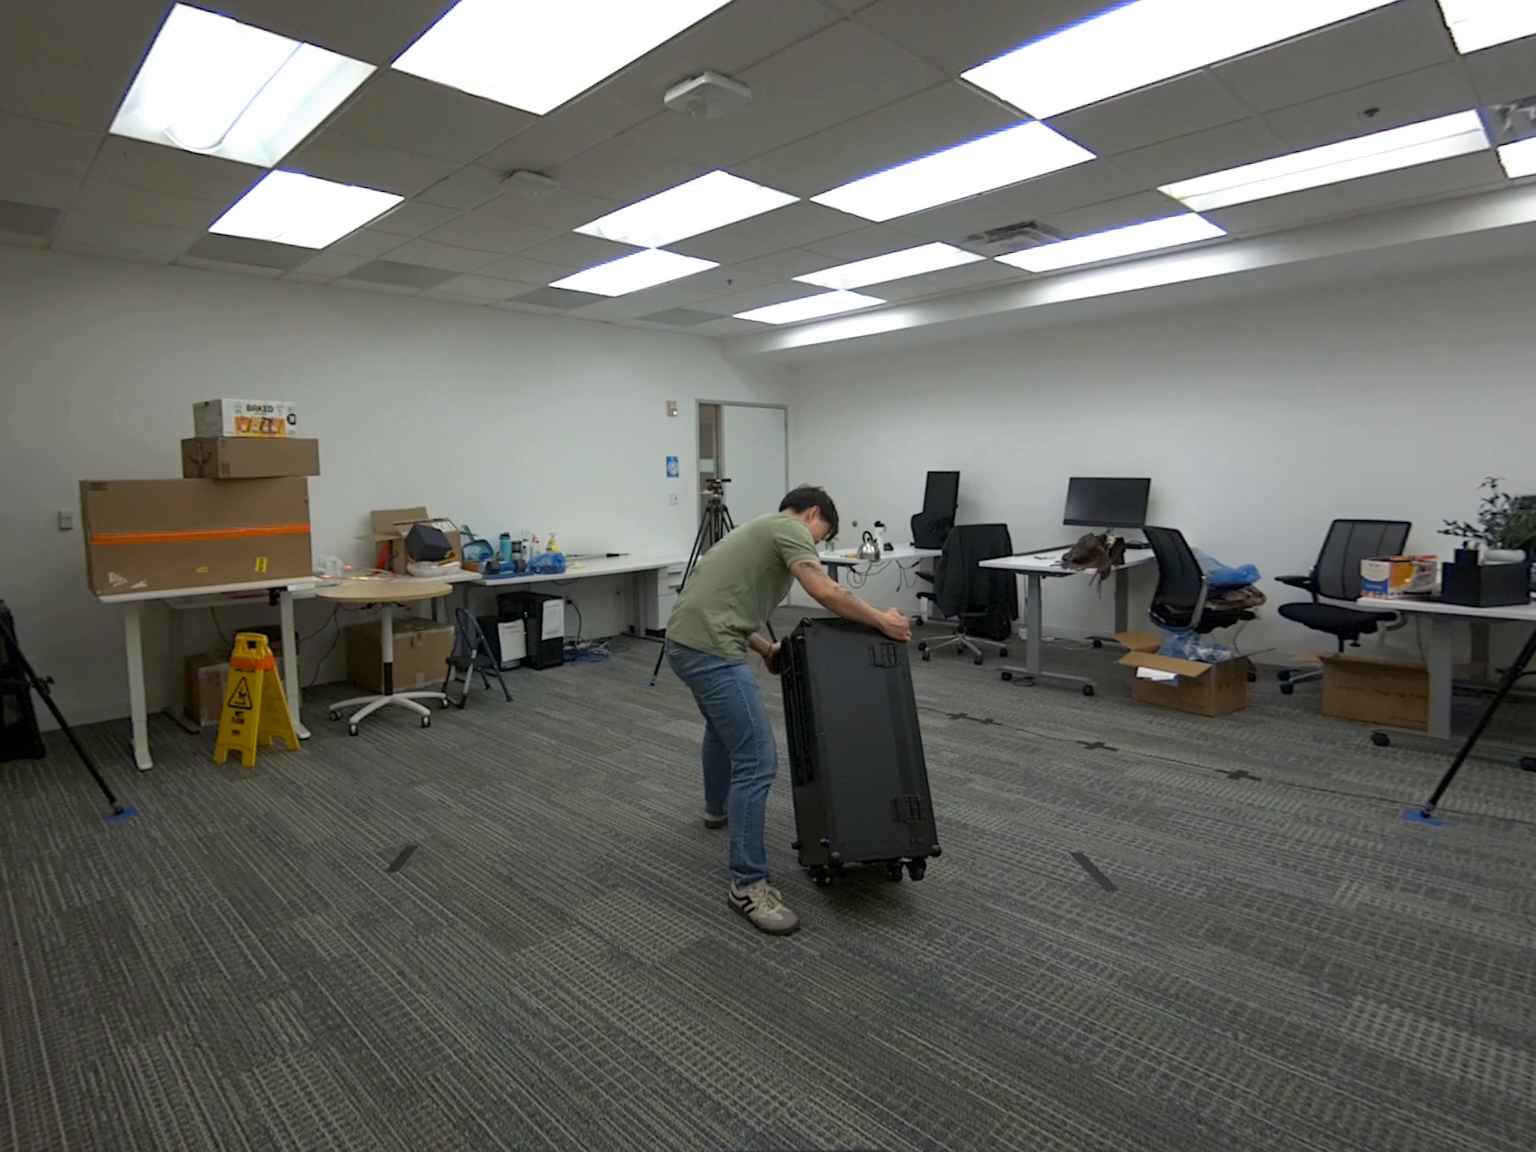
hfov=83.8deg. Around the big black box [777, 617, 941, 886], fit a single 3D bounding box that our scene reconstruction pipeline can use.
[{"bbox_3d":[0.287,0.619,2.979,0.393,0.879,0.515,-3,-21,-10],"label":"big black box"}]
